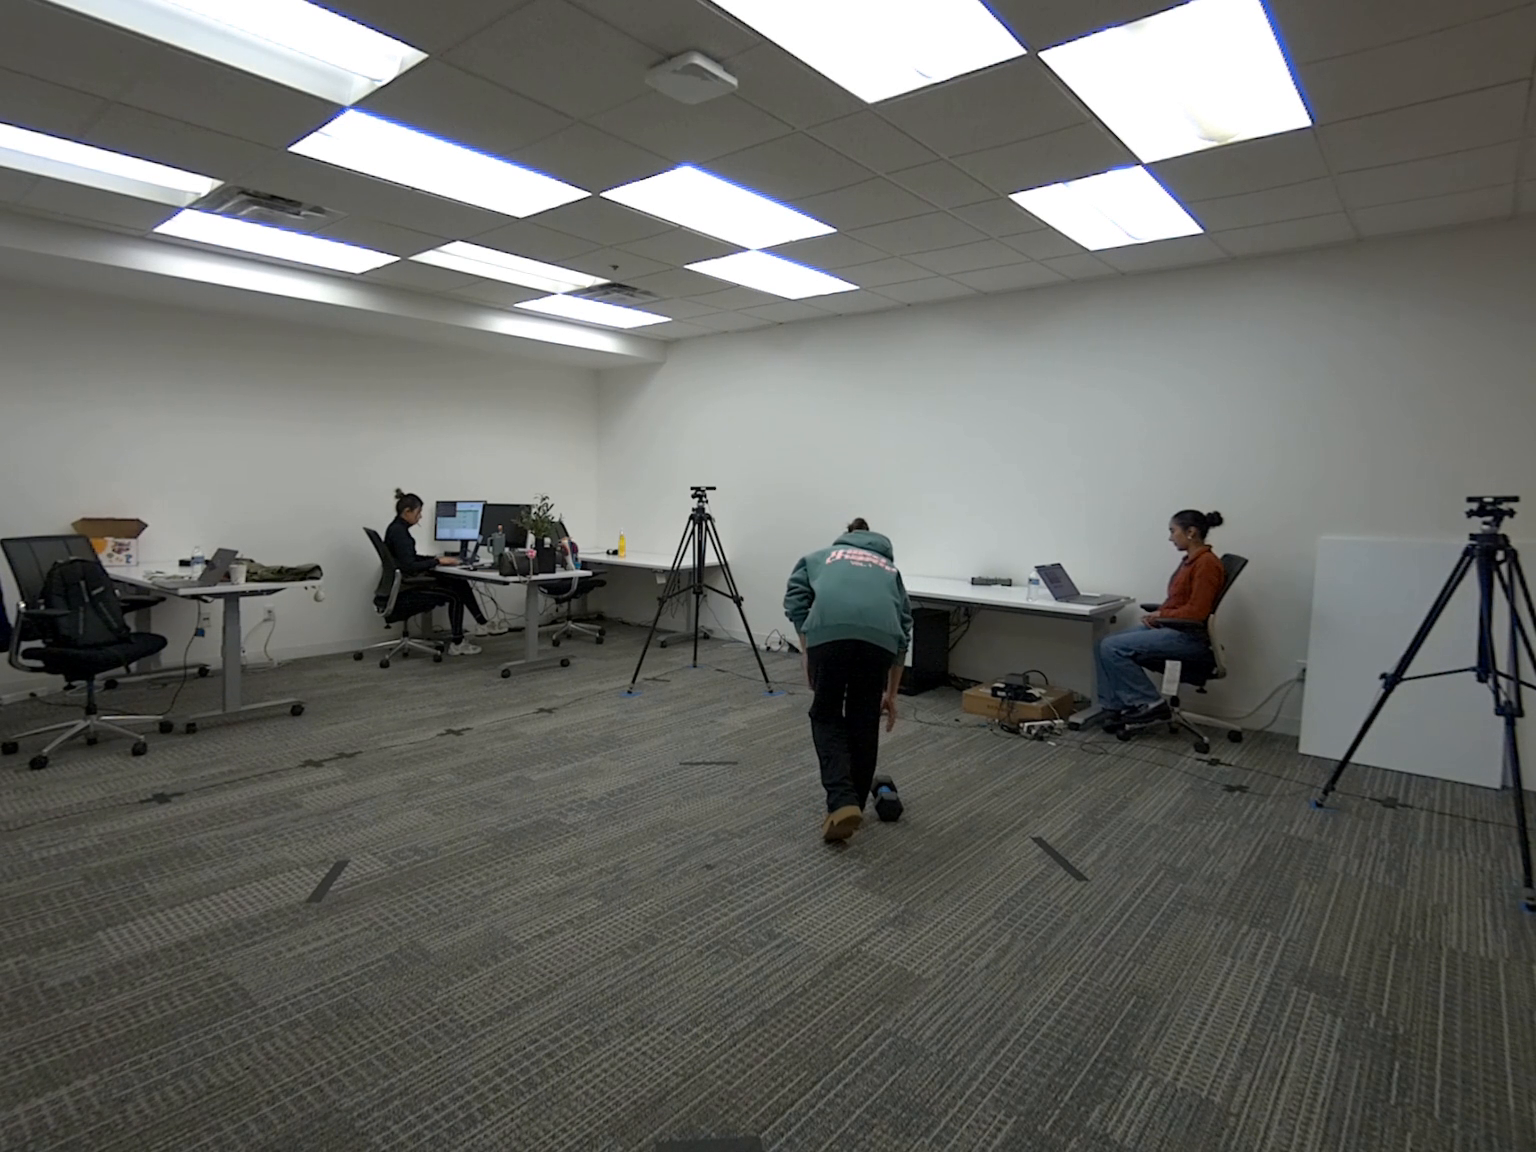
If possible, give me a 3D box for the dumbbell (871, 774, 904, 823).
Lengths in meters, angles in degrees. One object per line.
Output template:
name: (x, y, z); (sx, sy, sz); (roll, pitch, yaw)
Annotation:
dumbbell: (0.511, 0.967, 3.725); (0.108, 0.123, 0.294); (29, 6, -3)
